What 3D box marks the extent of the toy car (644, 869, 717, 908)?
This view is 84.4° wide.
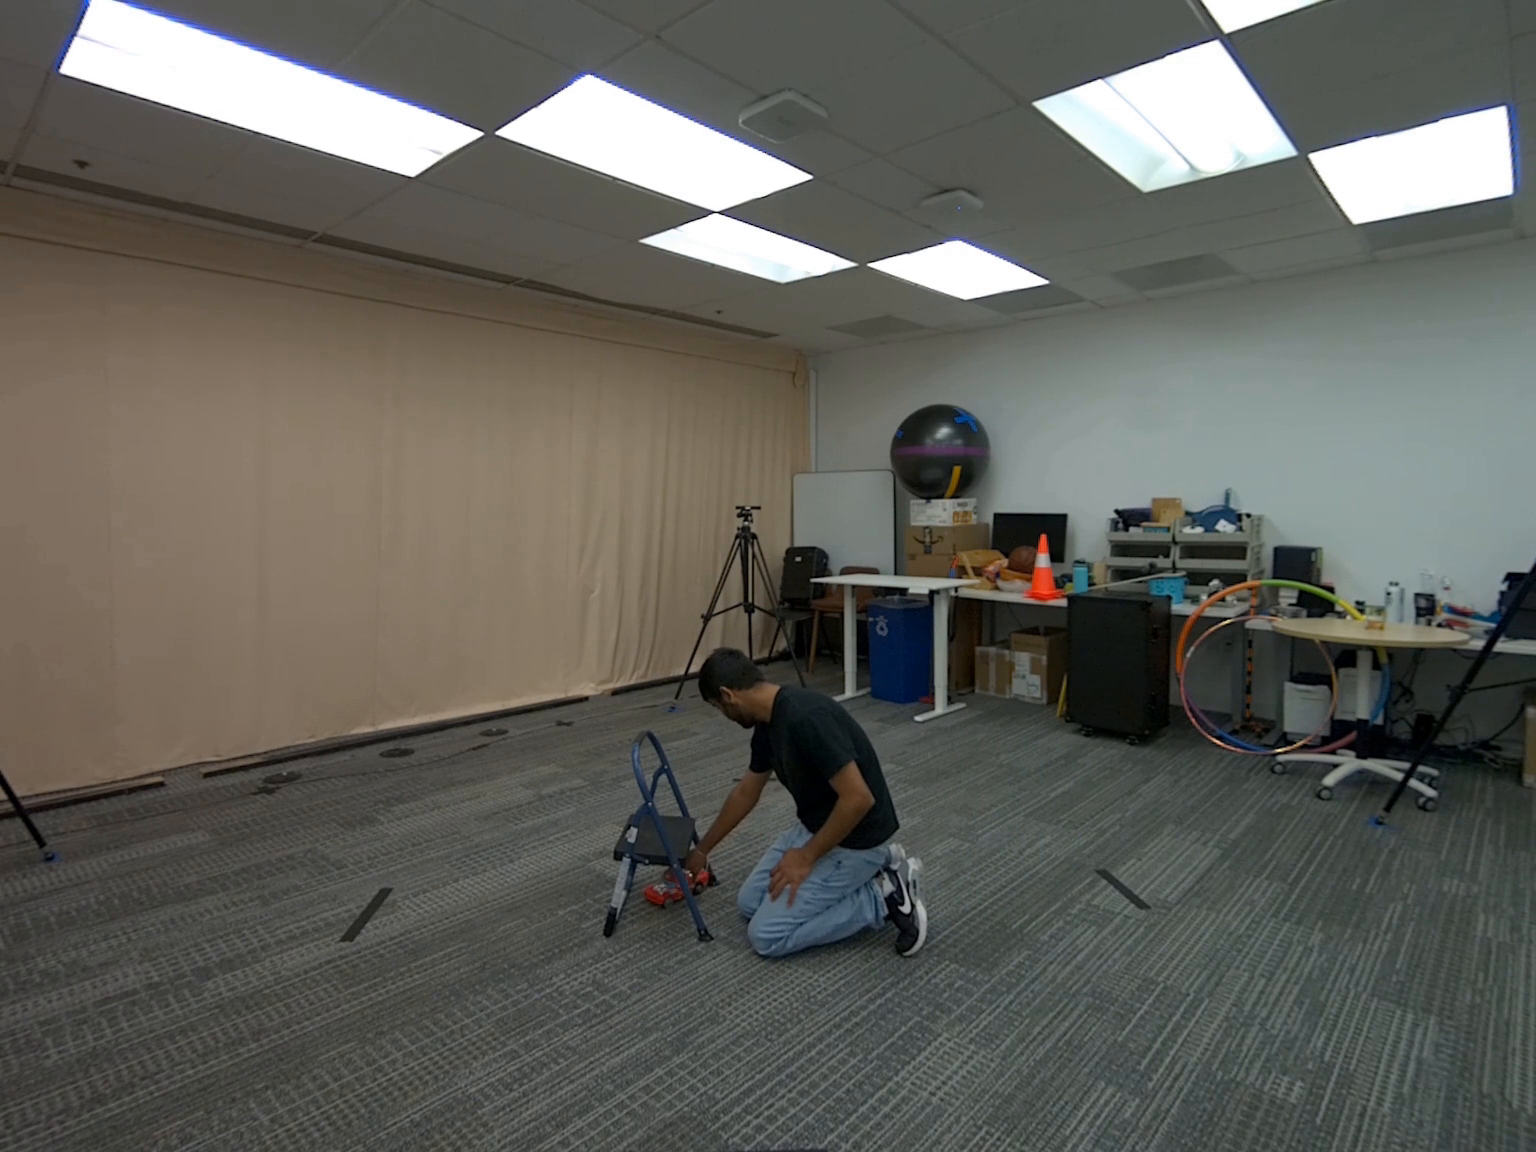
[{"bbox_3d":[-0.320,1.115,3.018,0.134,0.082,0.248,3,17,44],"label":"toy car"}]
